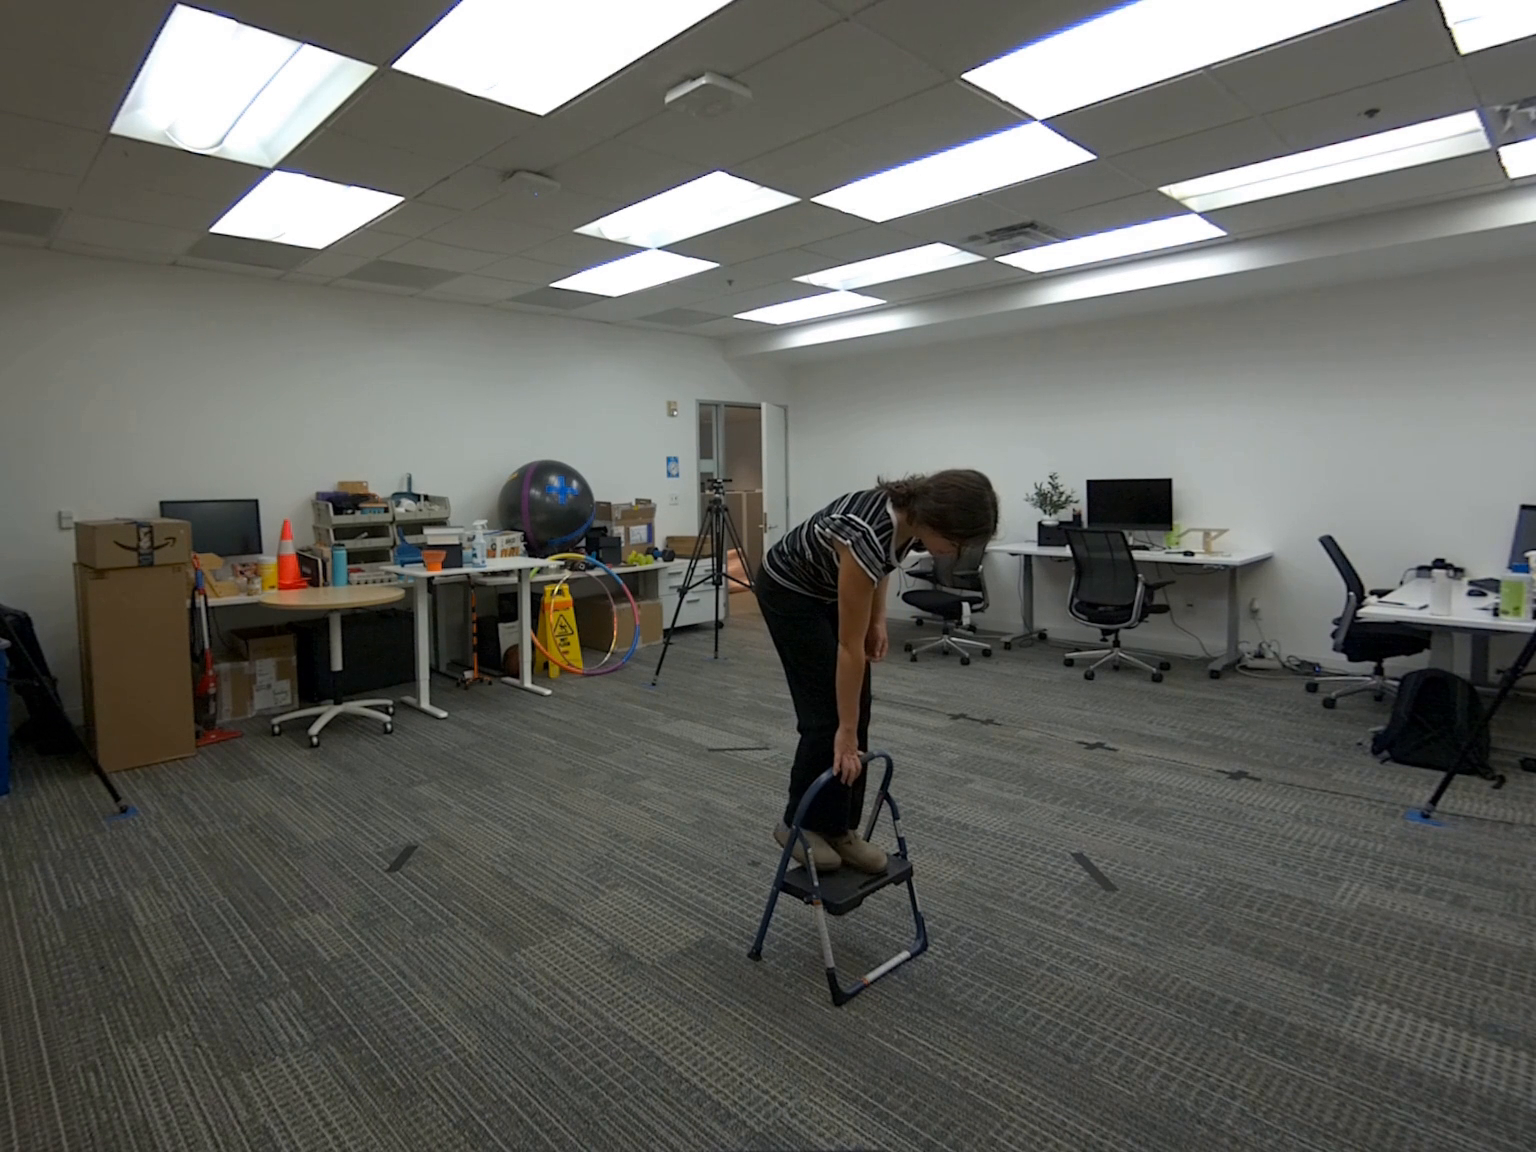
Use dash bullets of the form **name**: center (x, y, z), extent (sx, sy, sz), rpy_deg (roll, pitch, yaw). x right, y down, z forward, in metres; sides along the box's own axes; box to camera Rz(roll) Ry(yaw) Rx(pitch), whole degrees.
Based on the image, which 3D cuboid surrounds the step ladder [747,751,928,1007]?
- **step ladder**: center (0.210, 0.811, 2.496), extent (0.419, 0.603, 0.360), rpy_deg (-6, 7, -44)
